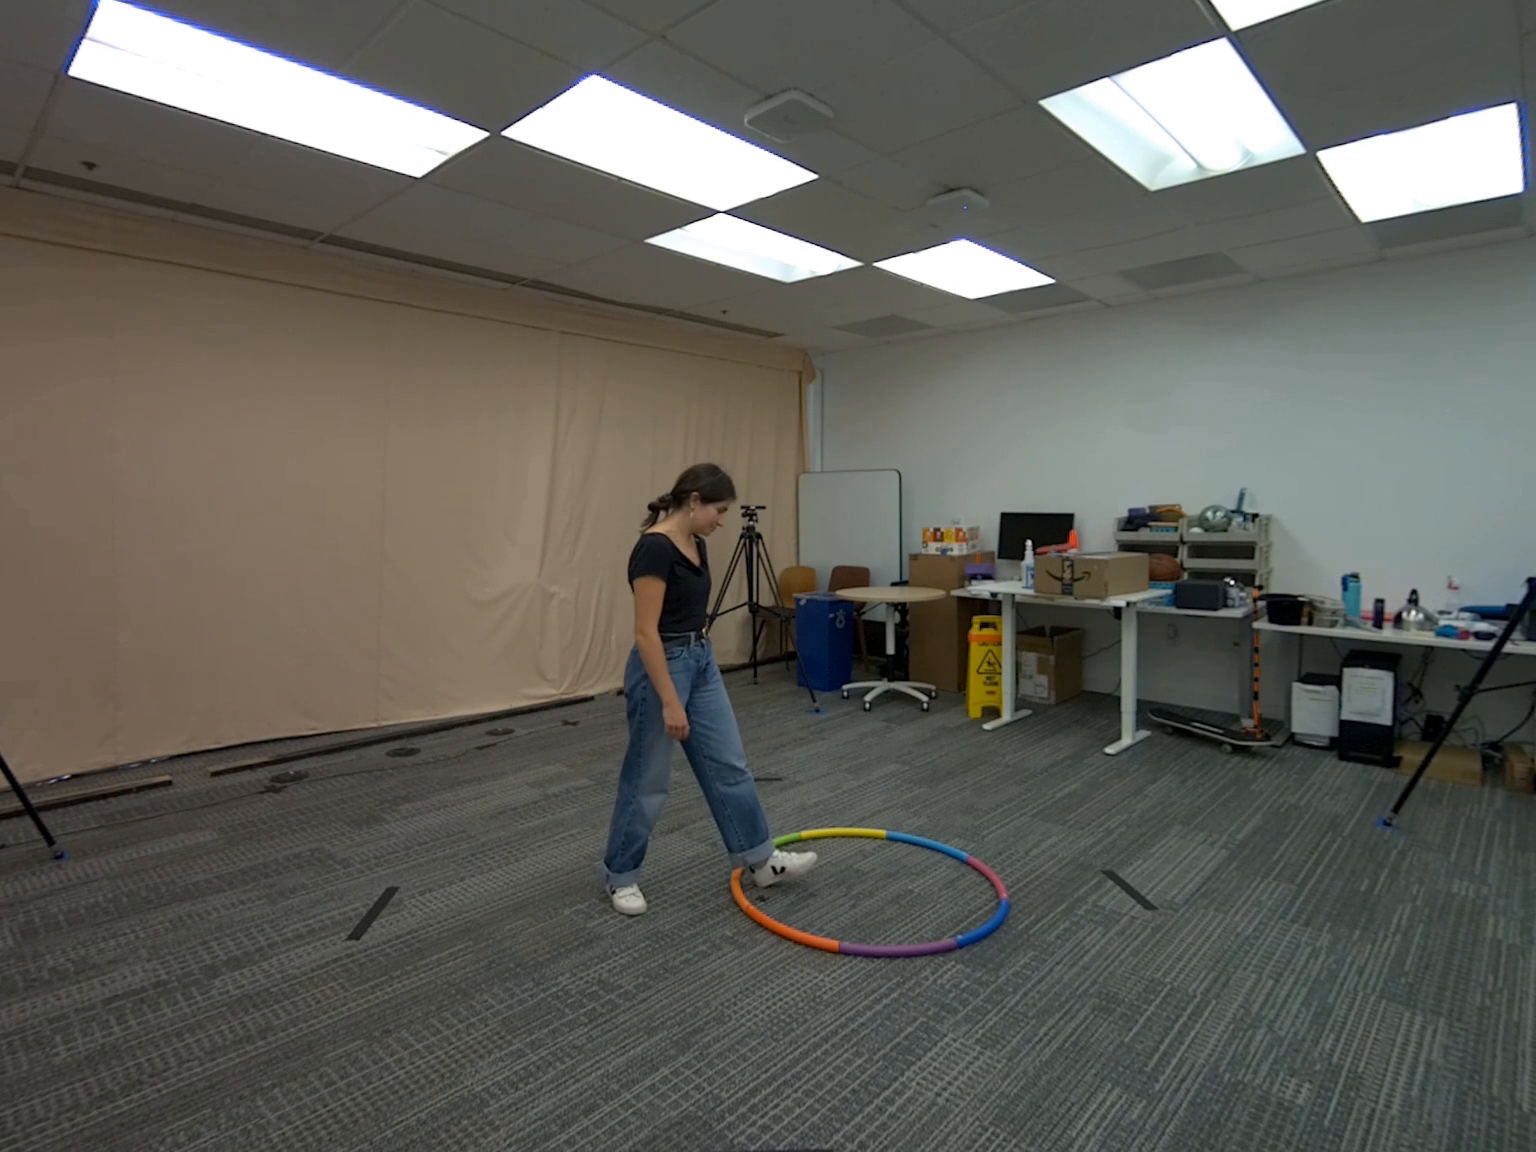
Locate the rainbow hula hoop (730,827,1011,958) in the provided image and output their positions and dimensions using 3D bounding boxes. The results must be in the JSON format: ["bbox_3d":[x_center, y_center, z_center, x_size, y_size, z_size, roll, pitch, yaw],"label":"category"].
[{"bbox_3d":[0.360,1.105,3.073,0.978,0.035,0.982,0,5,-2],"label":"rainbow hula hoop"}]
